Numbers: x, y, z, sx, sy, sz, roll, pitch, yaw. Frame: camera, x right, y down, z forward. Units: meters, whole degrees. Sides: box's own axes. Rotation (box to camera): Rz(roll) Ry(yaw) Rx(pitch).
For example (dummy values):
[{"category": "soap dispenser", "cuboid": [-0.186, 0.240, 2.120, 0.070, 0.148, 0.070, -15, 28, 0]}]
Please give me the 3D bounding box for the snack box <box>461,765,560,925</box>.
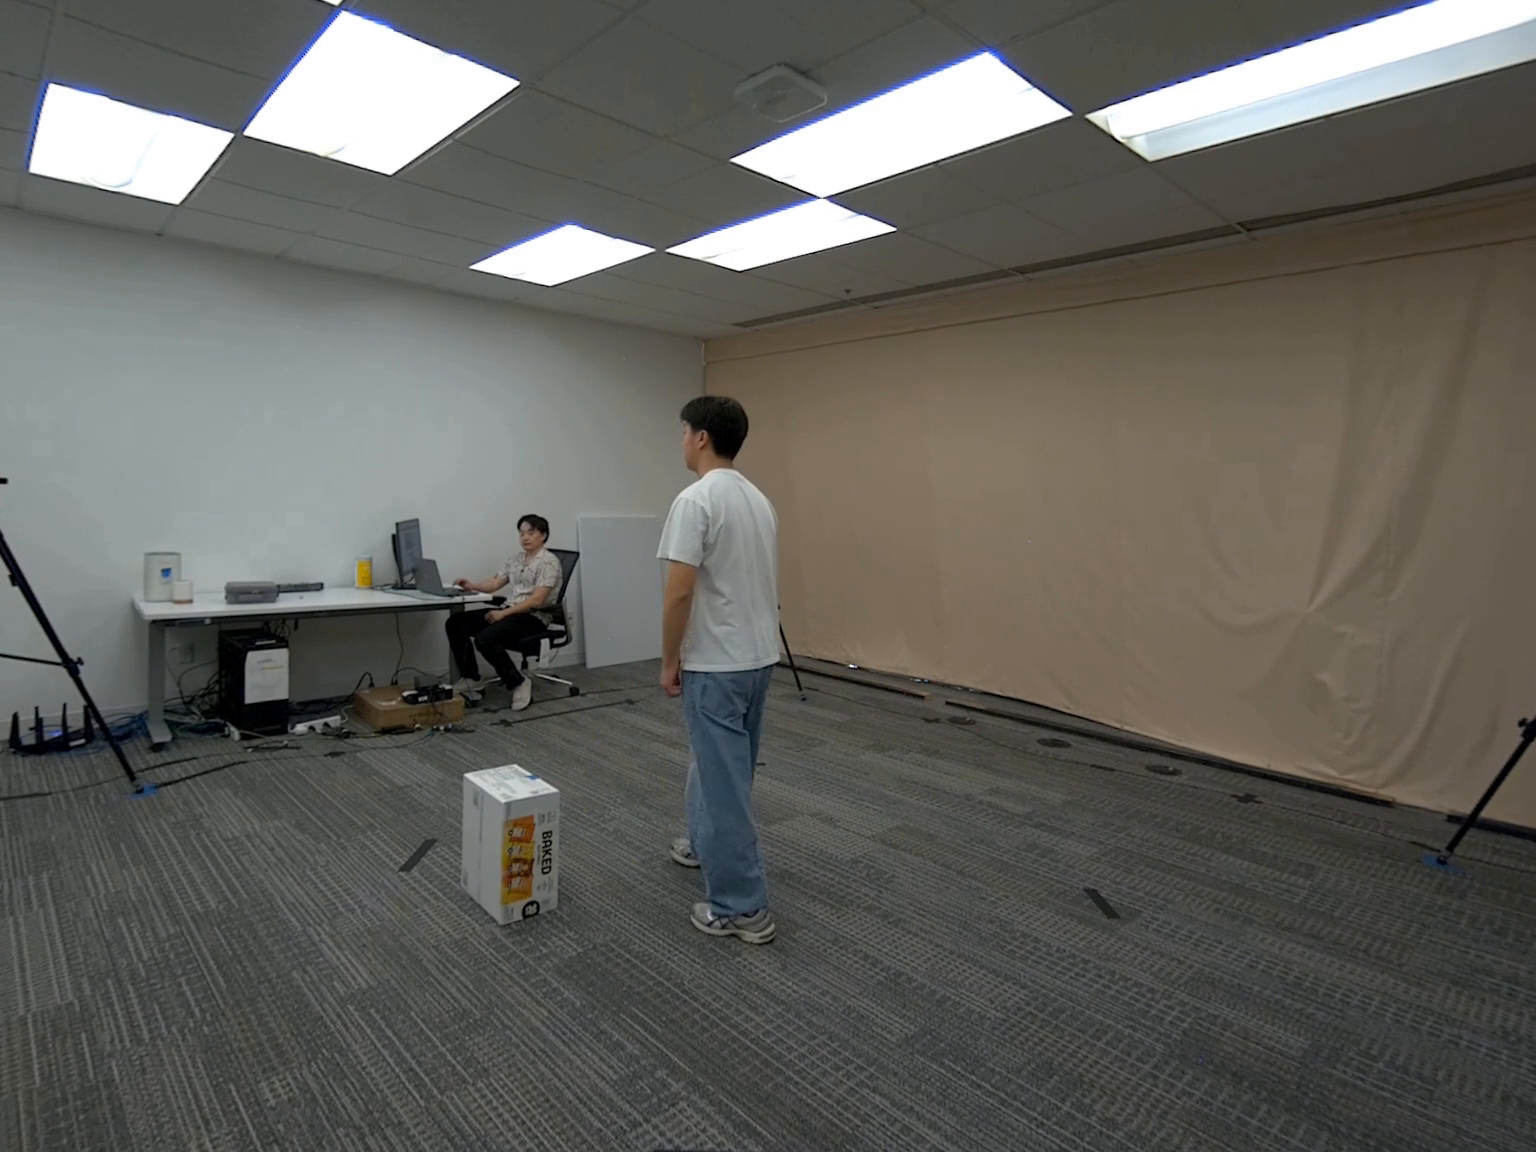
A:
[{"category": "snack box", "cuboid": [-0.891, 0.908, 2.880, 0.201, 0.404, 0.349, -1, 5, -41]}]
